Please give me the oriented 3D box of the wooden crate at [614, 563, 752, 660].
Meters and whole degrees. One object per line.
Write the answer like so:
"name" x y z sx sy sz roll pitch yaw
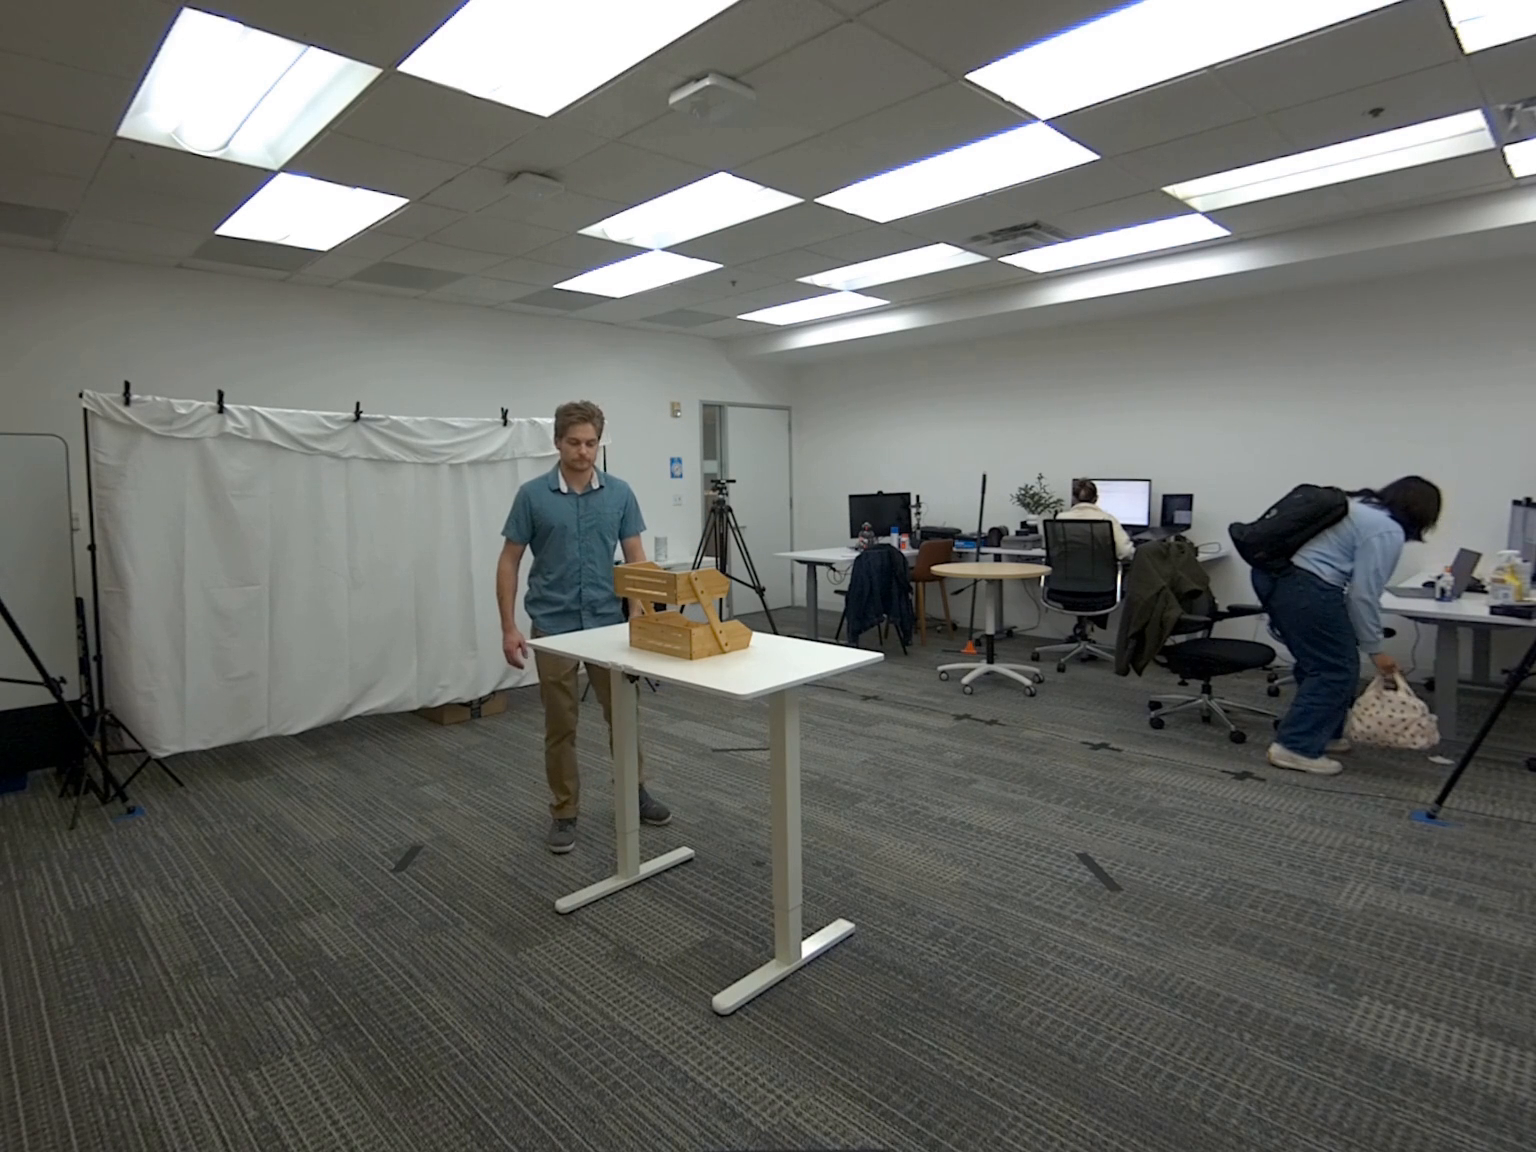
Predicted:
"wooden crate" -0.258 0.090 2.633 0.294 0.272 0.334 -8 9 -44
